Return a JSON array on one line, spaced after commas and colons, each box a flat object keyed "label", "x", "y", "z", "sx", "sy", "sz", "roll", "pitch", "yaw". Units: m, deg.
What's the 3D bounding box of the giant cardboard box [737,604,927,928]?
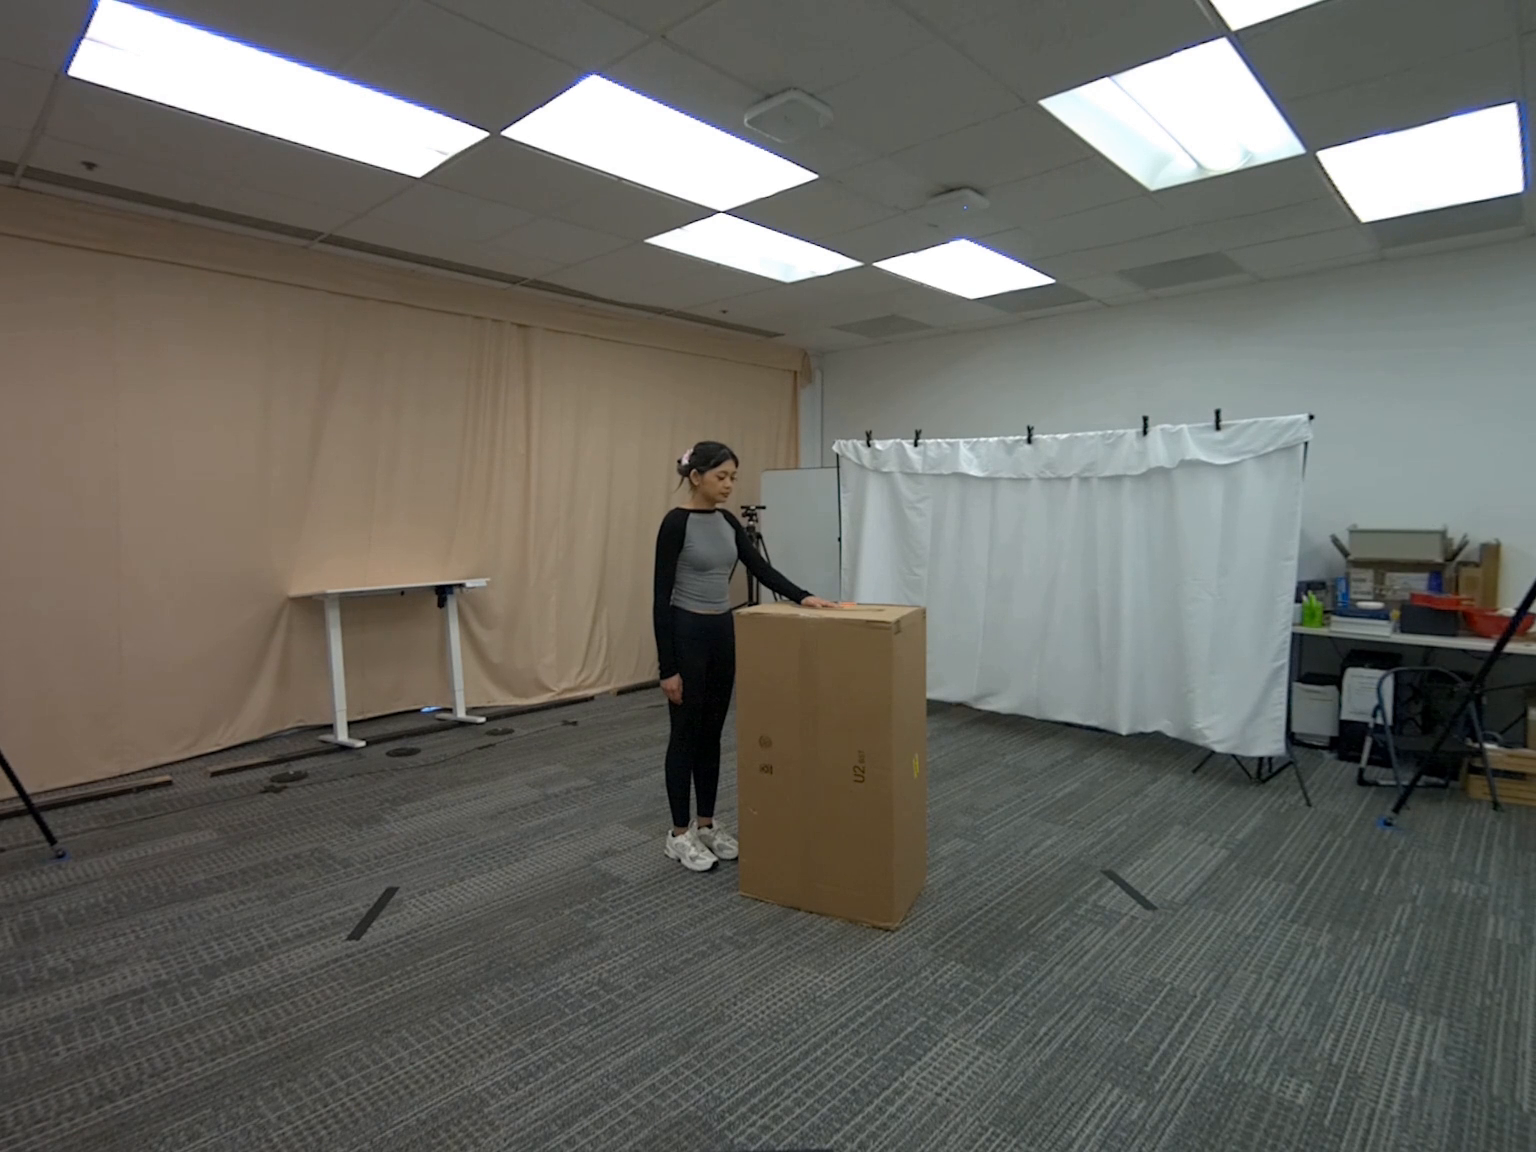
[{"label": "giant cardboard box", "x": 0.244, "y": 0.633, "z": 3.039, "sx": 0.599, "sy": 1.024, "sz": 0.436, "roll": 1, "pitch": 4, "yaw": 26}]
